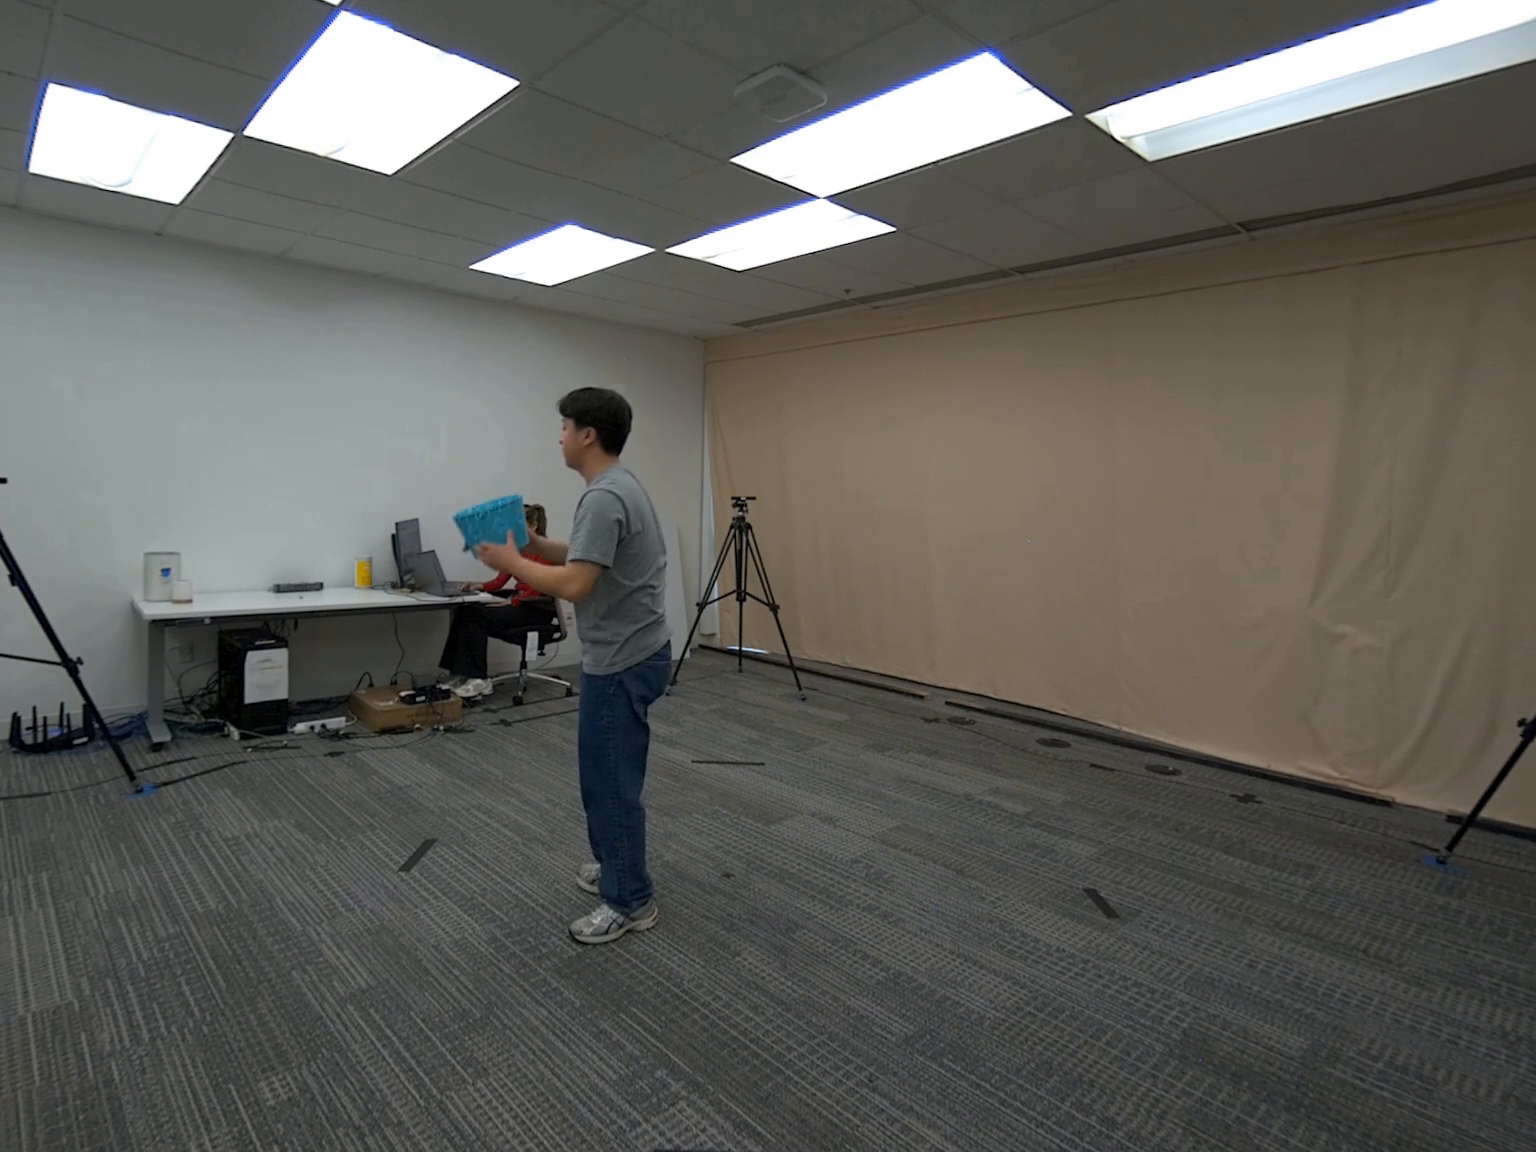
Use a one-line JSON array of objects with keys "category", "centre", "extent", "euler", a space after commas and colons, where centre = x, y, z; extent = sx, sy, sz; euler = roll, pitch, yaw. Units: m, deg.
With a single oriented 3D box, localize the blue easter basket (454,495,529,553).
[{"category": "blue easter basket", "centre": [-0.873, -0.156, 2.696], "extent": [0.244, 0.154, 0.246], "euler": [-15, 14, 2]}]
